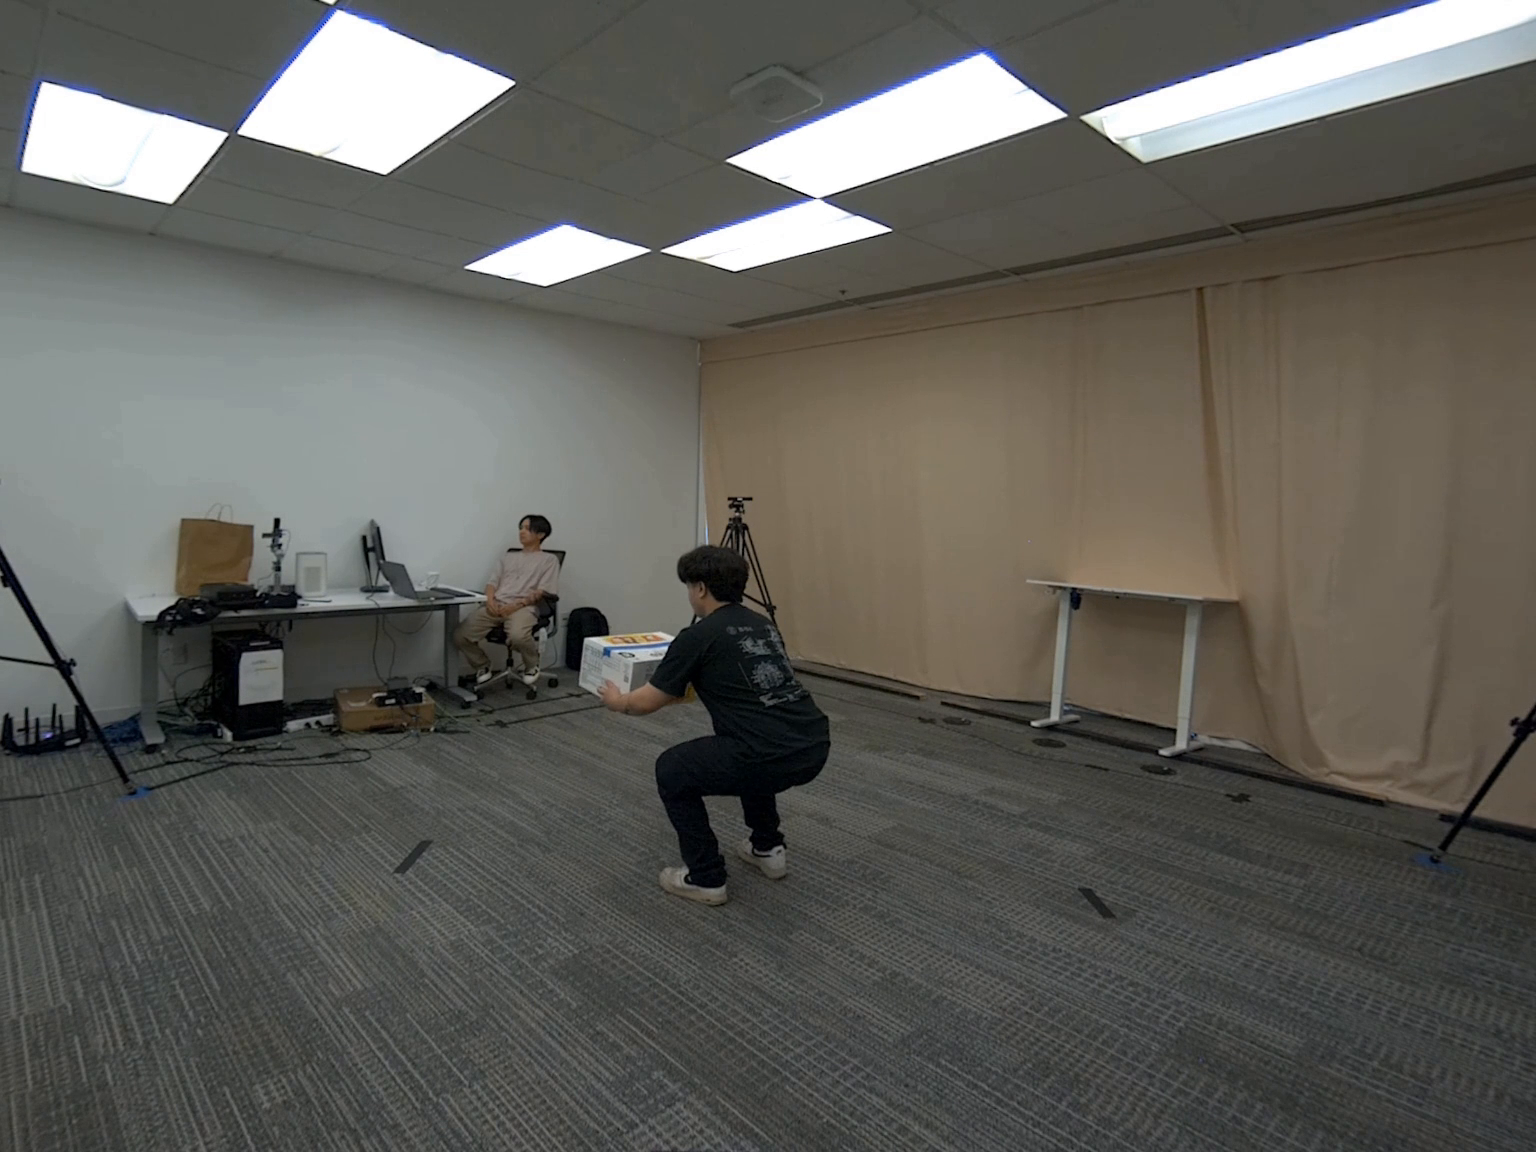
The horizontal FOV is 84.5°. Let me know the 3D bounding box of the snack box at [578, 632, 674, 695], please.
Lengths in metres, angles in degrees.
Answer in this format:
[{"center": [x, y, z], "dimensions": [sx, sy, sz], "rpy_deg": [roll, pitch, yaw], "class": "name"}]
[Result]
[{"center": [-0.502, 0.381, 3.435], "dimensions": [0.396, 0.204, 0.350], "rpy_deg": [-2, 12, -45], "class": "snack box"}]
